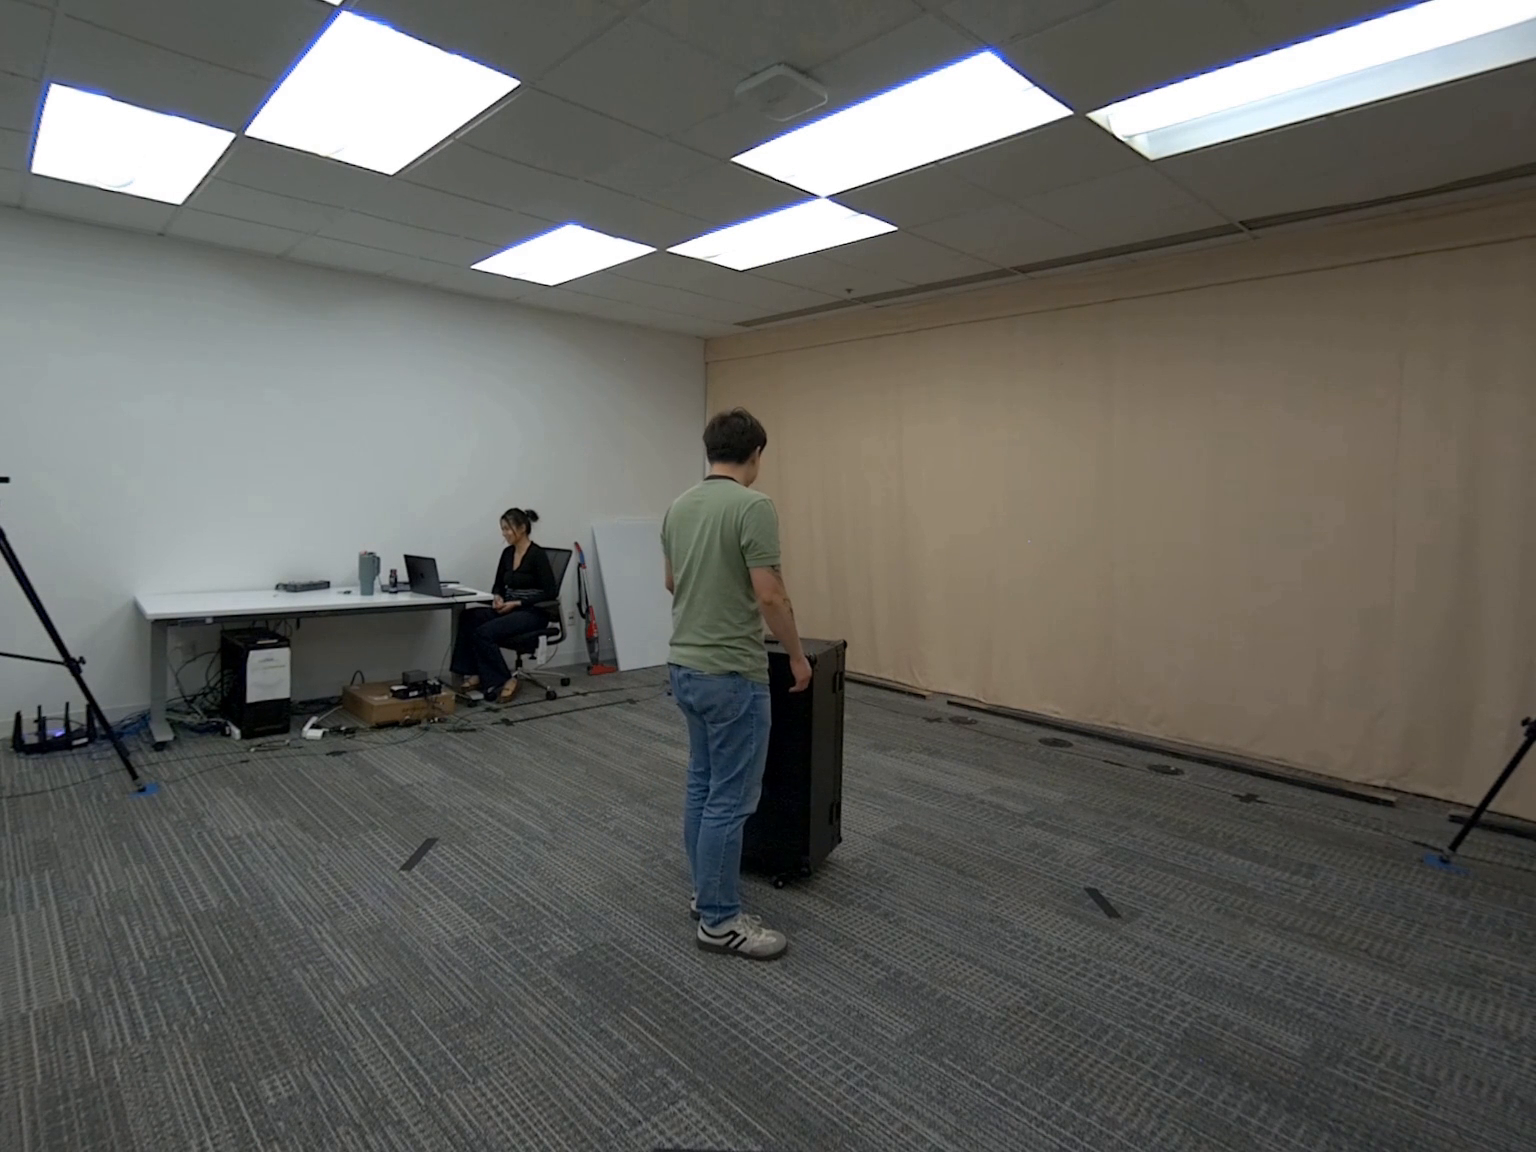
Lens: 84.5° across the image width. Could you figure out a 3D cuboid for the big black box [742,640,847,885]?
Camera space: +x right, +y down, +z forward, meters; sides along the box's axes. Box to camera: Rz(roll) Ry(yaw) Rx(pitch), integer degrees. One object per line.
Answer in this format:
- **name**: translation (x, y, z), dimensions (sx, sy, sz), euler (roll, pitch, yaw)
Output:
- **big black box**: translation (-0.001, 0.675, 3.170), dimensions (0.531, 0.859, 0.390), euler (3, 5, 25)
